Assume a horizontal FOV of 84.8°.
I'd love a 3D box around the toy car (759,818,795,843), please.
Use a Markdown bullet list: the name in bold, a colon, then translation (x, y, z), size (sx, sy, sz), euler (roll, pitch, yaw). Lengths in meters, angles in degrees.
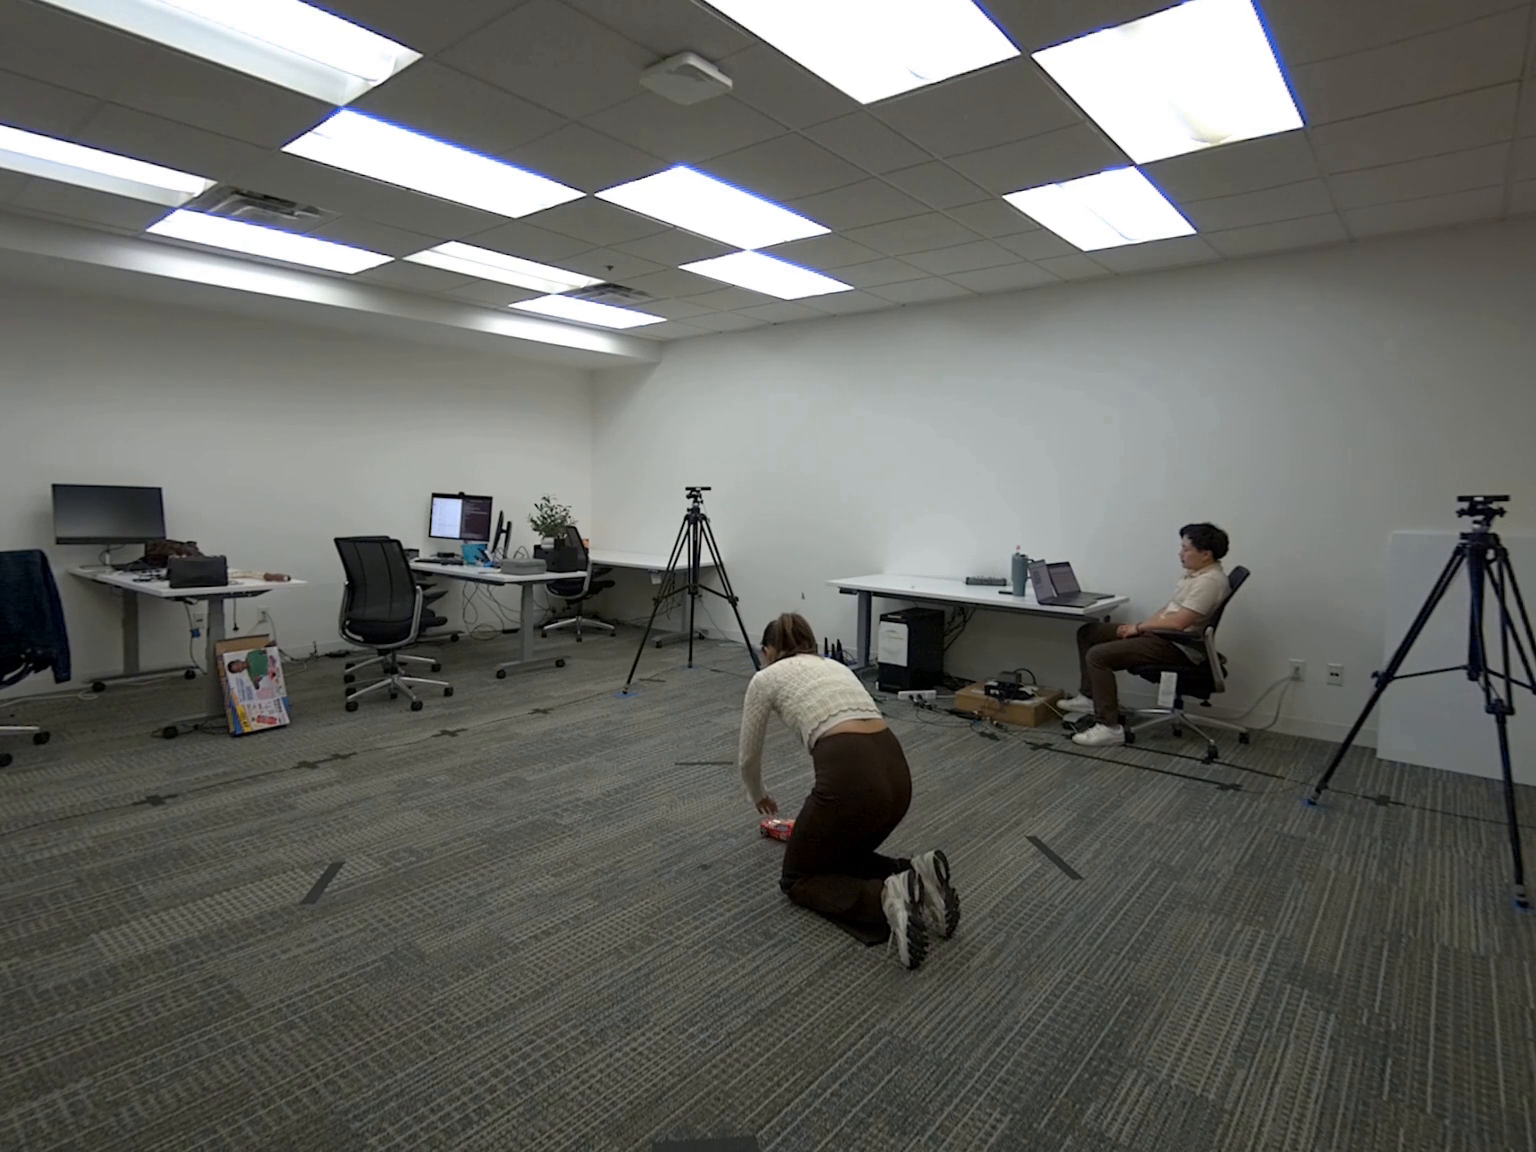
- **toy car**: translation (0.082, 1.011, 3.370), size (0.261, 0.083, 0.126), euler (-6, -2, 40)
